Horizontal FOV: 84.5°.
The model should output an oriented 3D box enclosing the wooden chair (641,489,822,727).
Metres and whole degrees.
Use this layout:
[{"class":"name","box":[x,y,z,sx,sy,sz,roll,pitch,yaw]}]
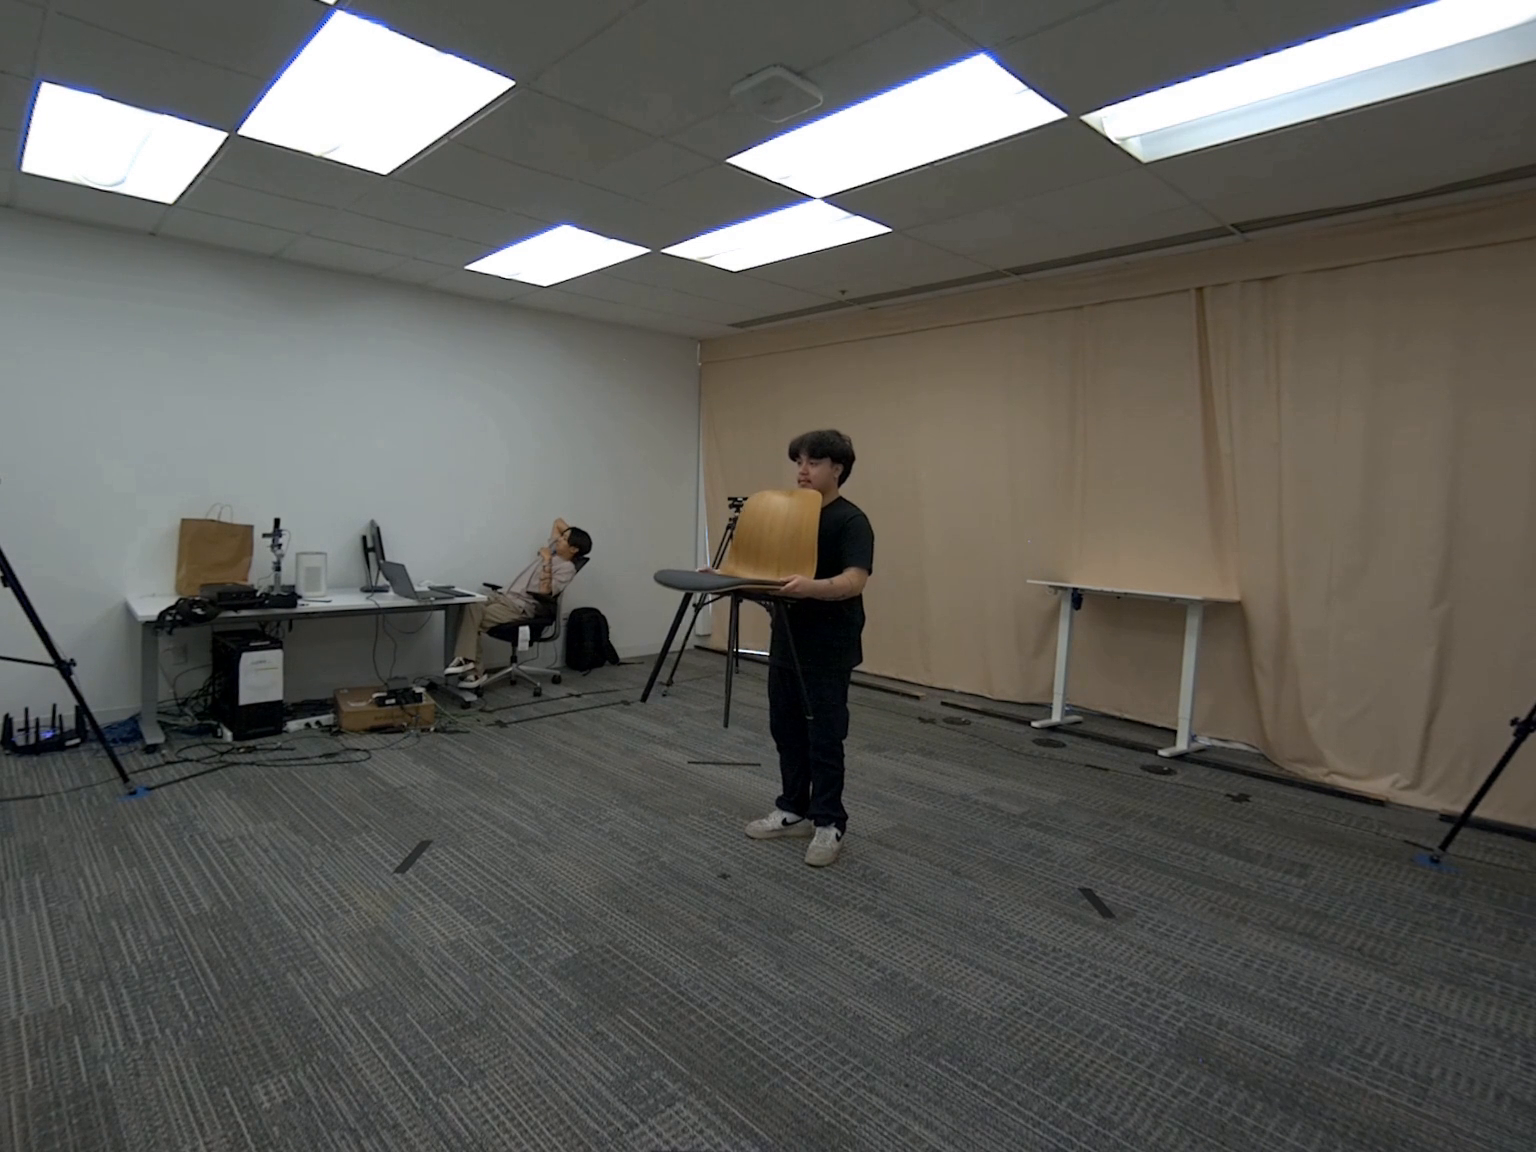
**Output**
[{"class":"wooden chair","box":[-0.127,0.077,3.075,0.490,0.878,0.509,6,-3,44]}]
